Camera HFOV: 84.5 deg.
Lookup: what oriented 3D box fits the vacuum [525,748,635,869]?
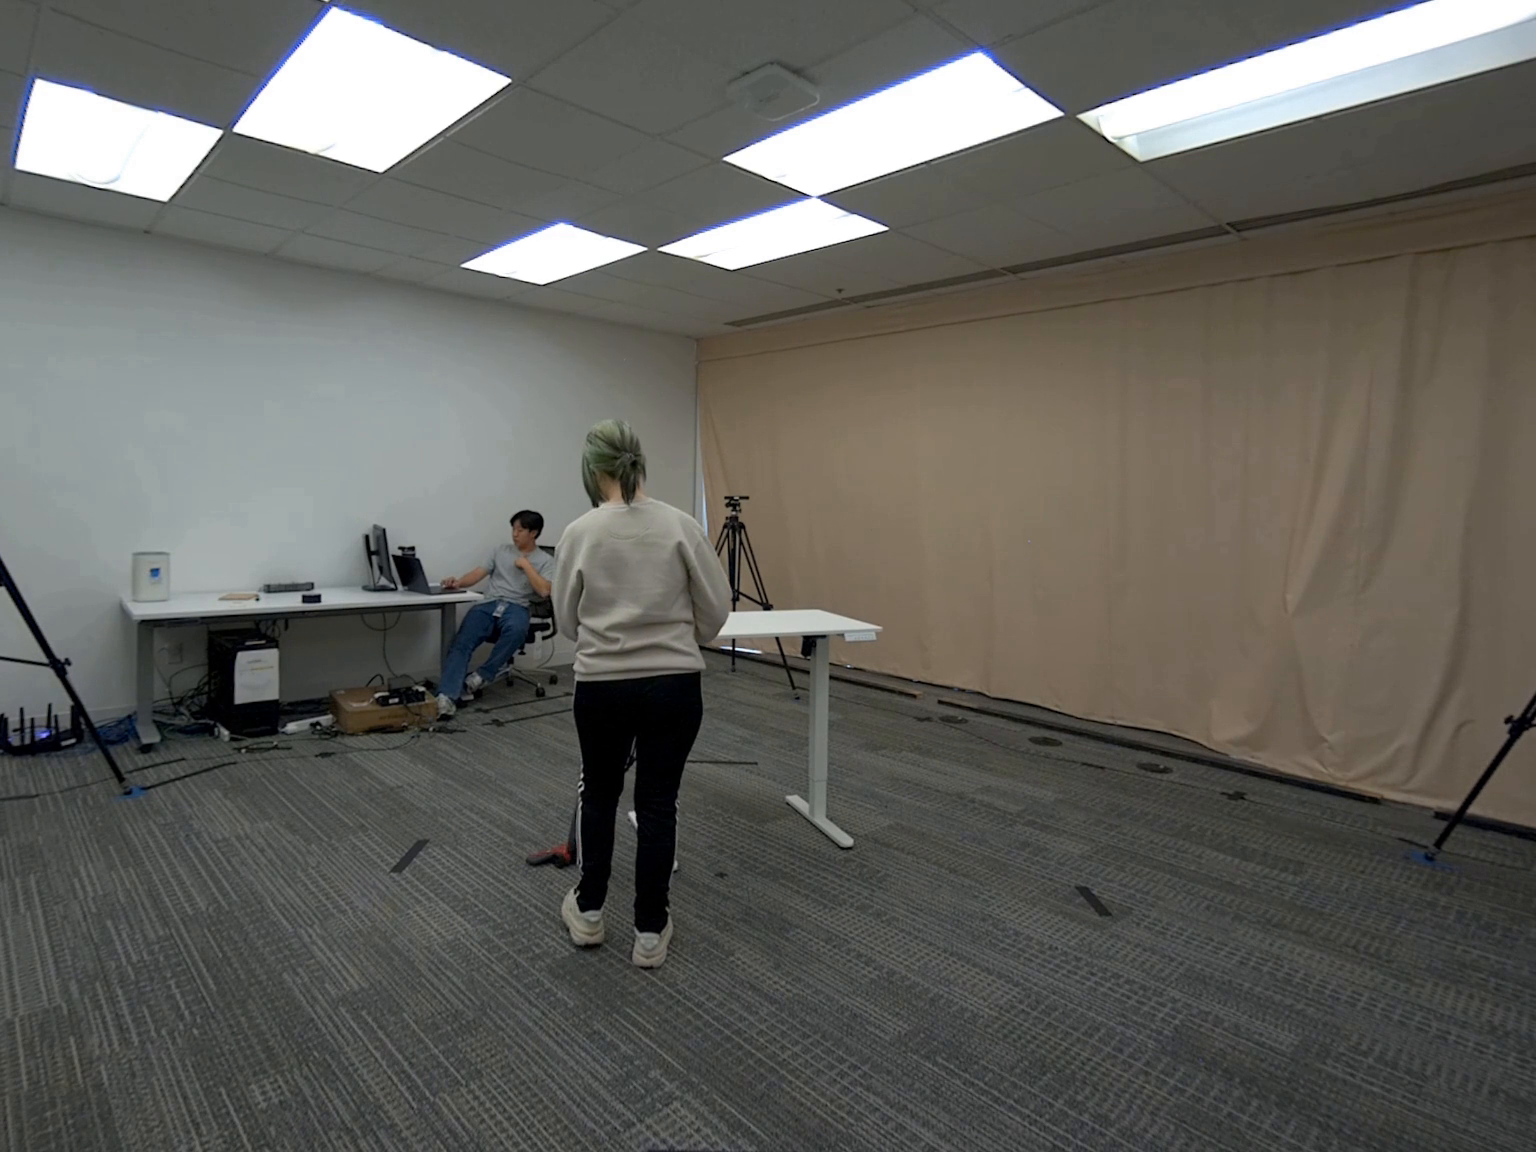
[{"bbox_3d":[-0.586,0.656,3.004,0.246,1.042,0.148,1,35,-45],"label":"vacuum"}]
